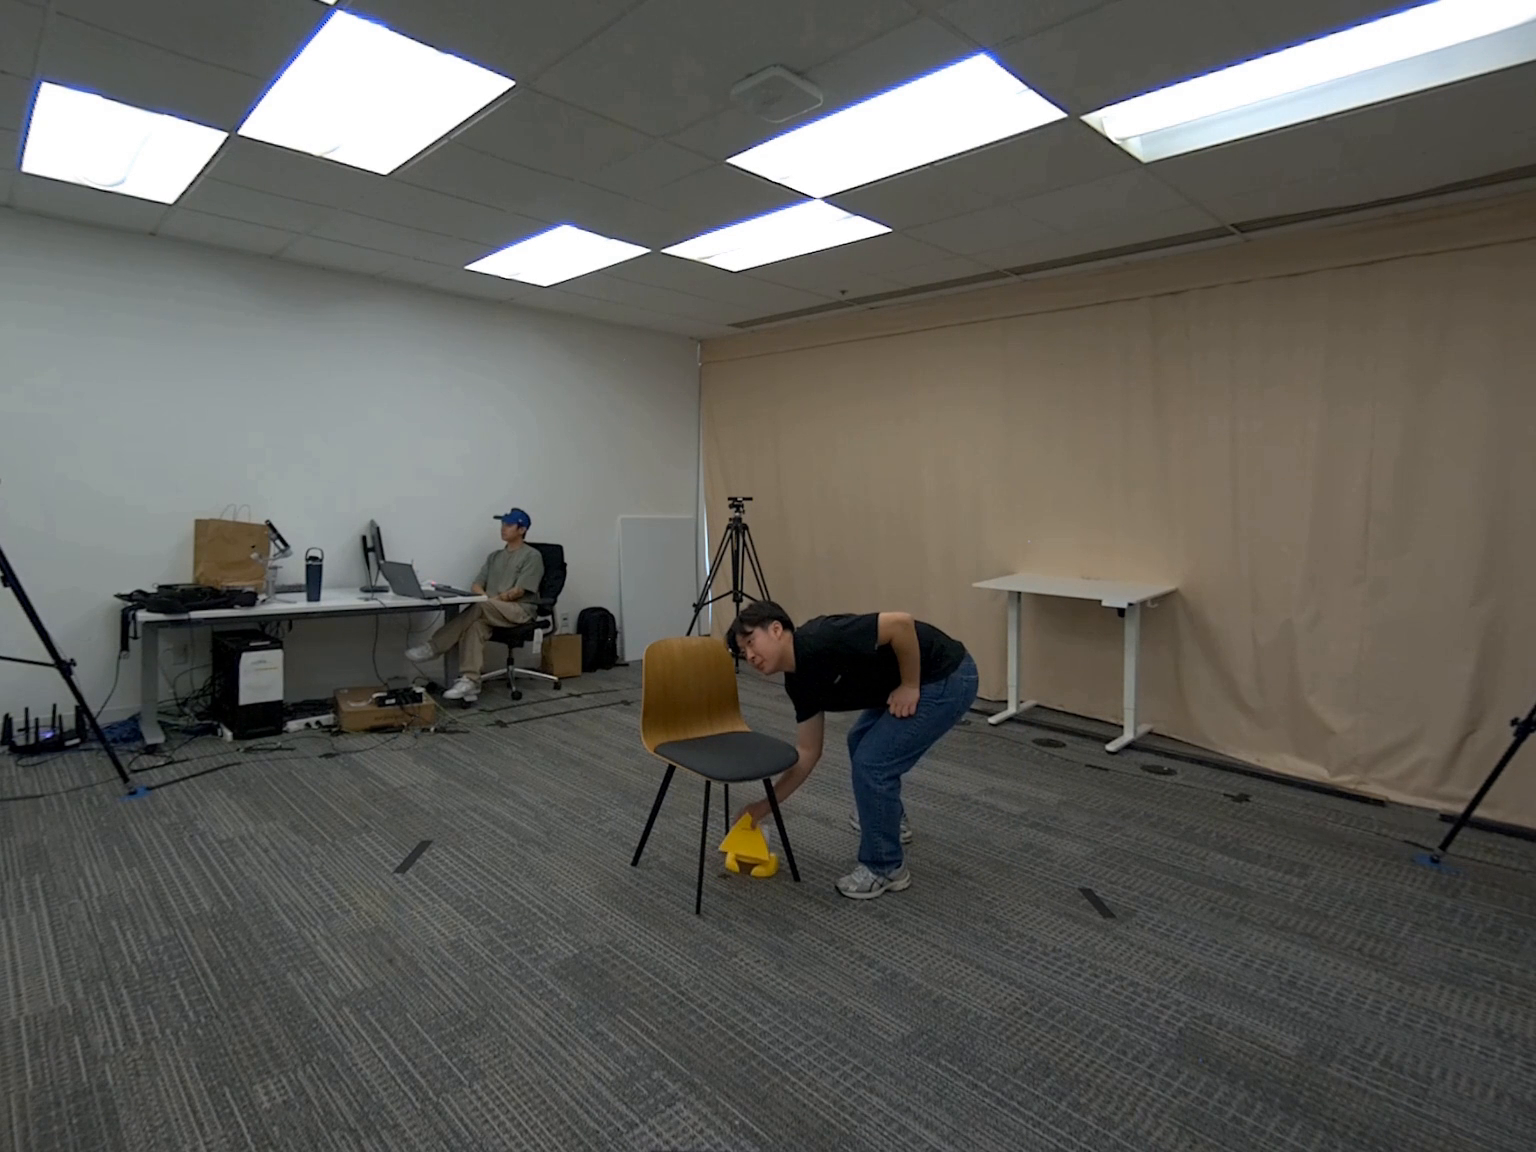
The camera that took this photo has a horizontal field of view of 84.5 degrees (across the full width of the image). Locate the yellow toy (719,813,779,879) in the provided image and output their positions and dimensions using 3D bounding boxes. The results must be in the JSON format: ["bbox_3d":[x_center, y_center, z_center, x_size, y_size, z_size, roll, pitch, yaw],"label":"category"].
[{"bbox_3d":[-0.067,0.992,3.181,0.208,0.230,0.190,2,5,22],"label":"yellow toy"}]
